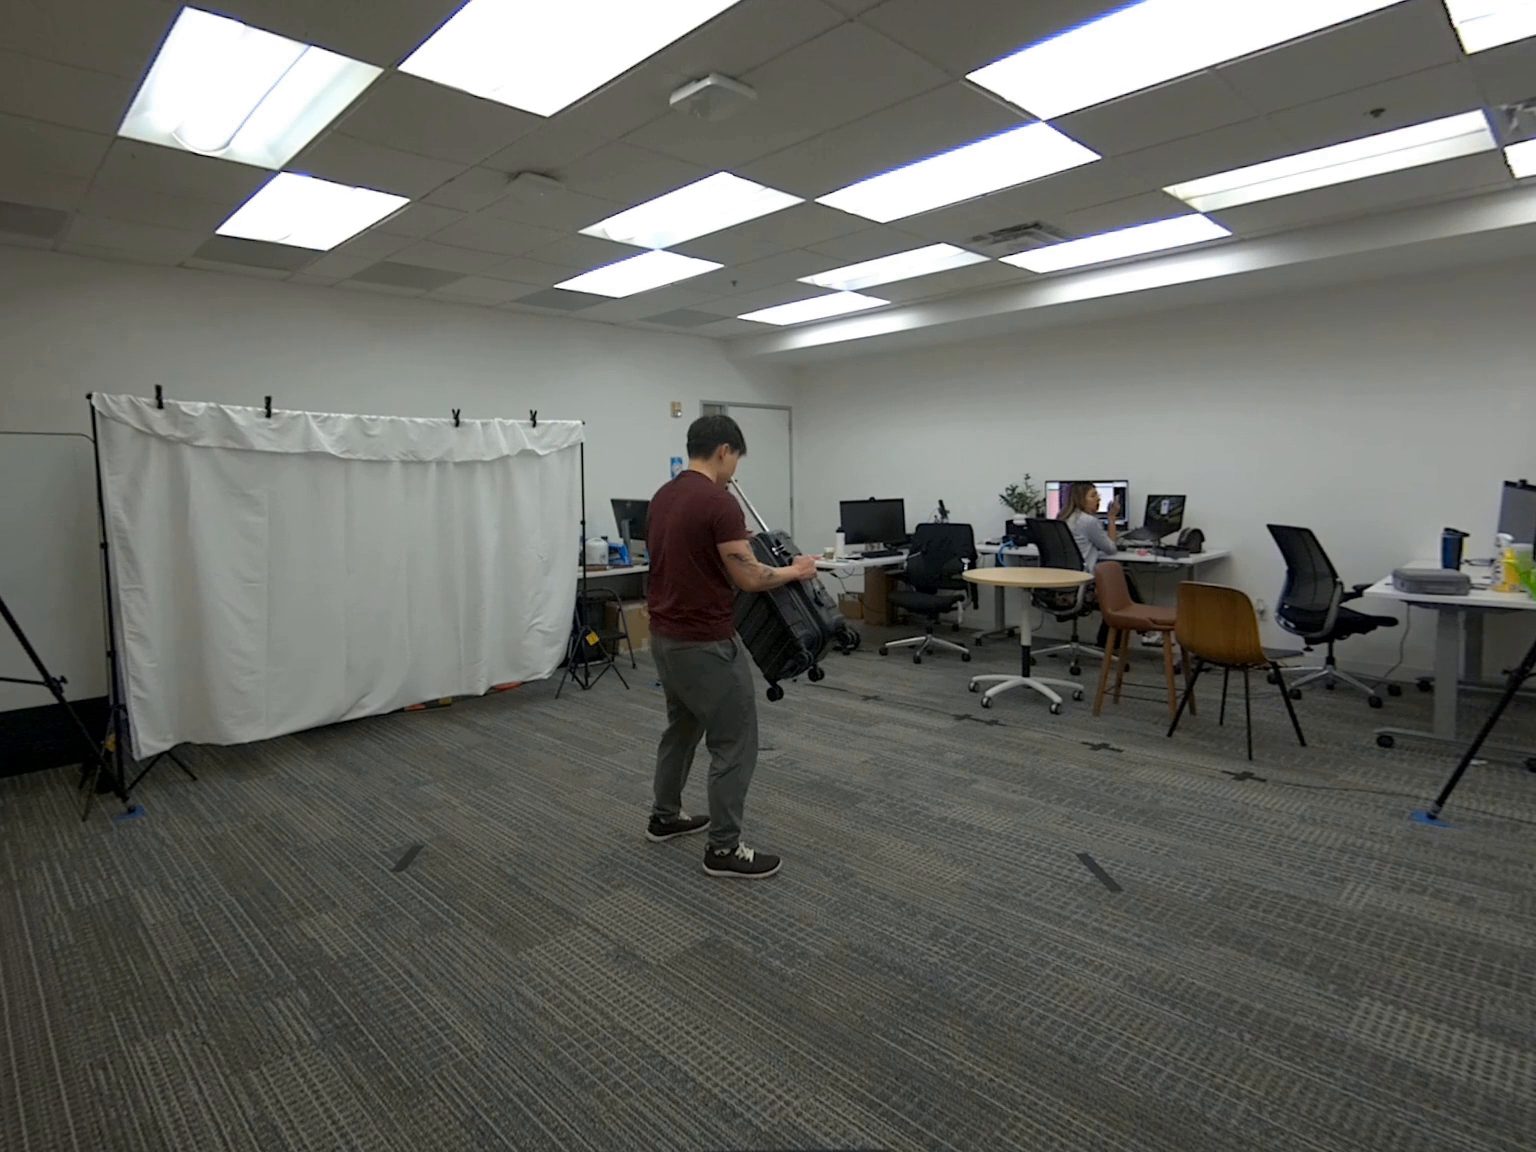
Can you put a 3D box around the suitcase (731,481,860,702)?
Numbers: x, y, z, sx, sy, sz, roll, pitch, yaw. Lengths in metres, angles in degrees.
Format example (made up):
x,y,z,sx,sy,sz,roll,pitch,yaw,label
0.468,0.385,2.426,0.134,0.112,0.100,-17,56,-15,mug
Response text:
x,y,z,sx,sy,sz,roll,pitch,yaw,label
-0.070,-0.044,3.327,0.253,1.005,0.380,-20,-25,-31,suitcase
